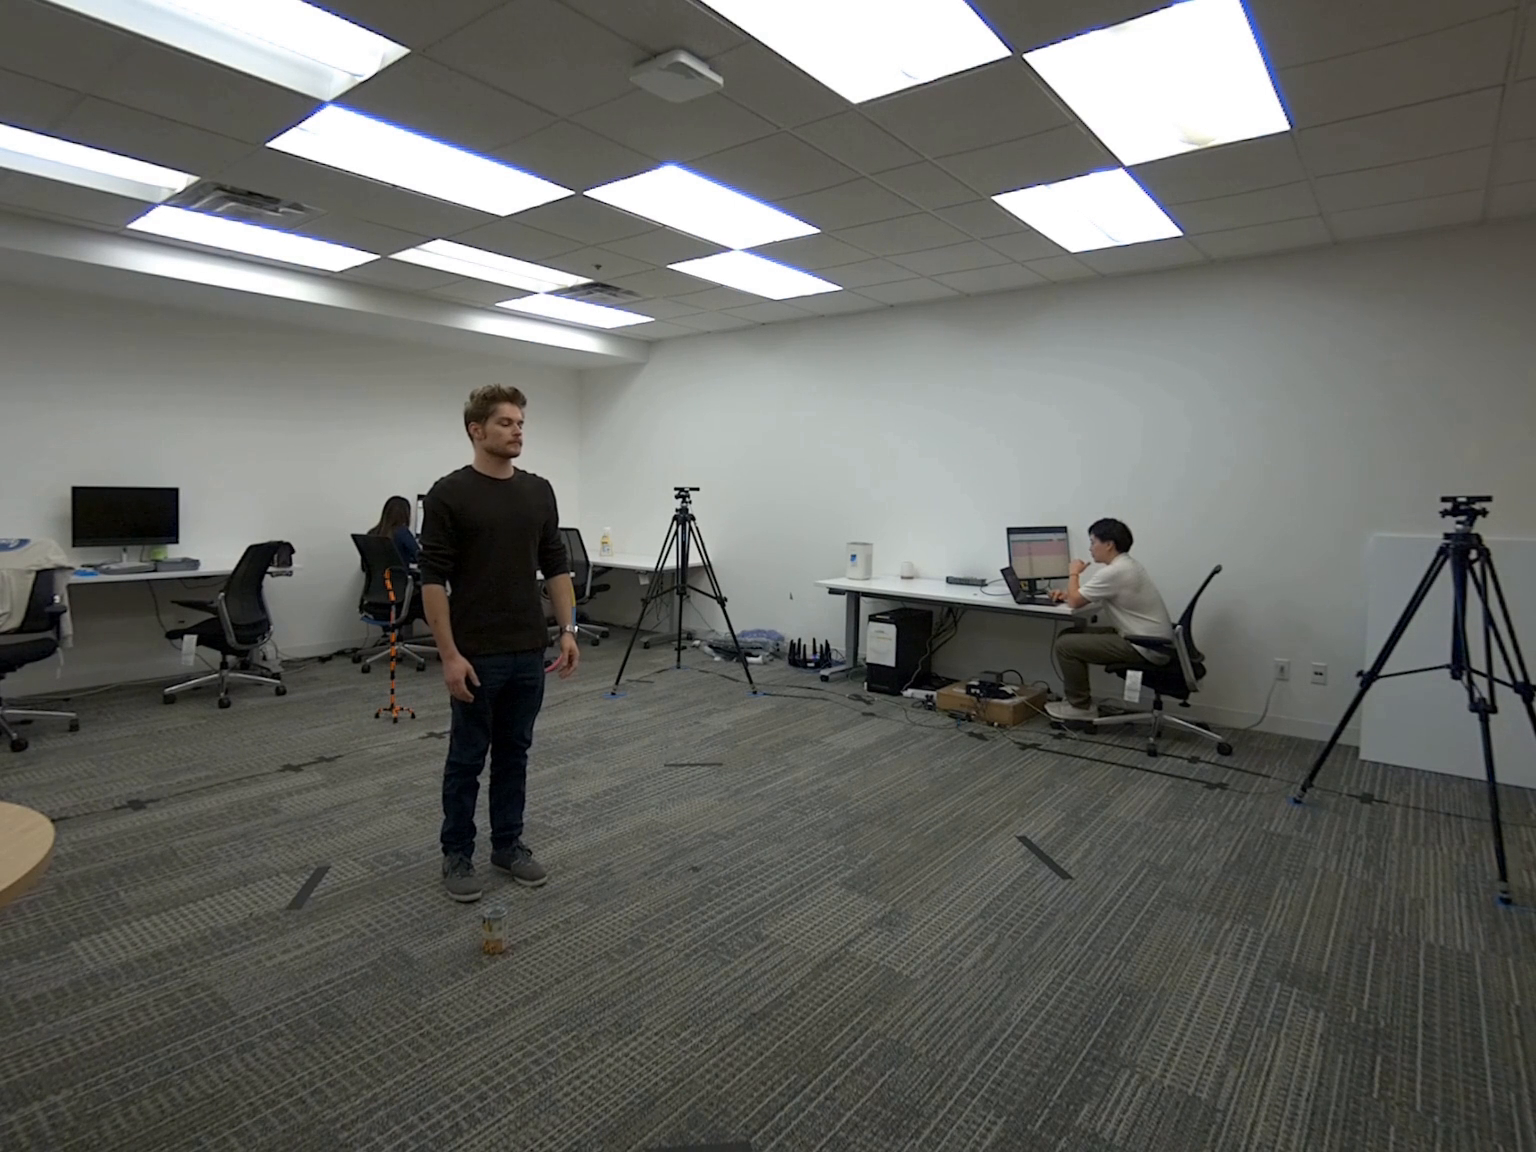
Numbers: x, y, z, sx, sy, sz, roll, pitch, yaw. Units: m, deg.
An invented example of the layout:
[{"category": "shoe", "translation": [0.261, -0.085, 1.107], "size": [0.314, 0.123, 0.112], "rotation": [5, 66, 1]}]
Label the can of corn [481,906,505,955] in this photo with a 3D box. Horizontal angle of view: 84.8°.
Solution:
[{"category": "can of corn", "translation": [-0.824, 1.062, 2.547], "size": [0.074, 0.110, 0.074], "rotation": [0, 4, -2]}]
